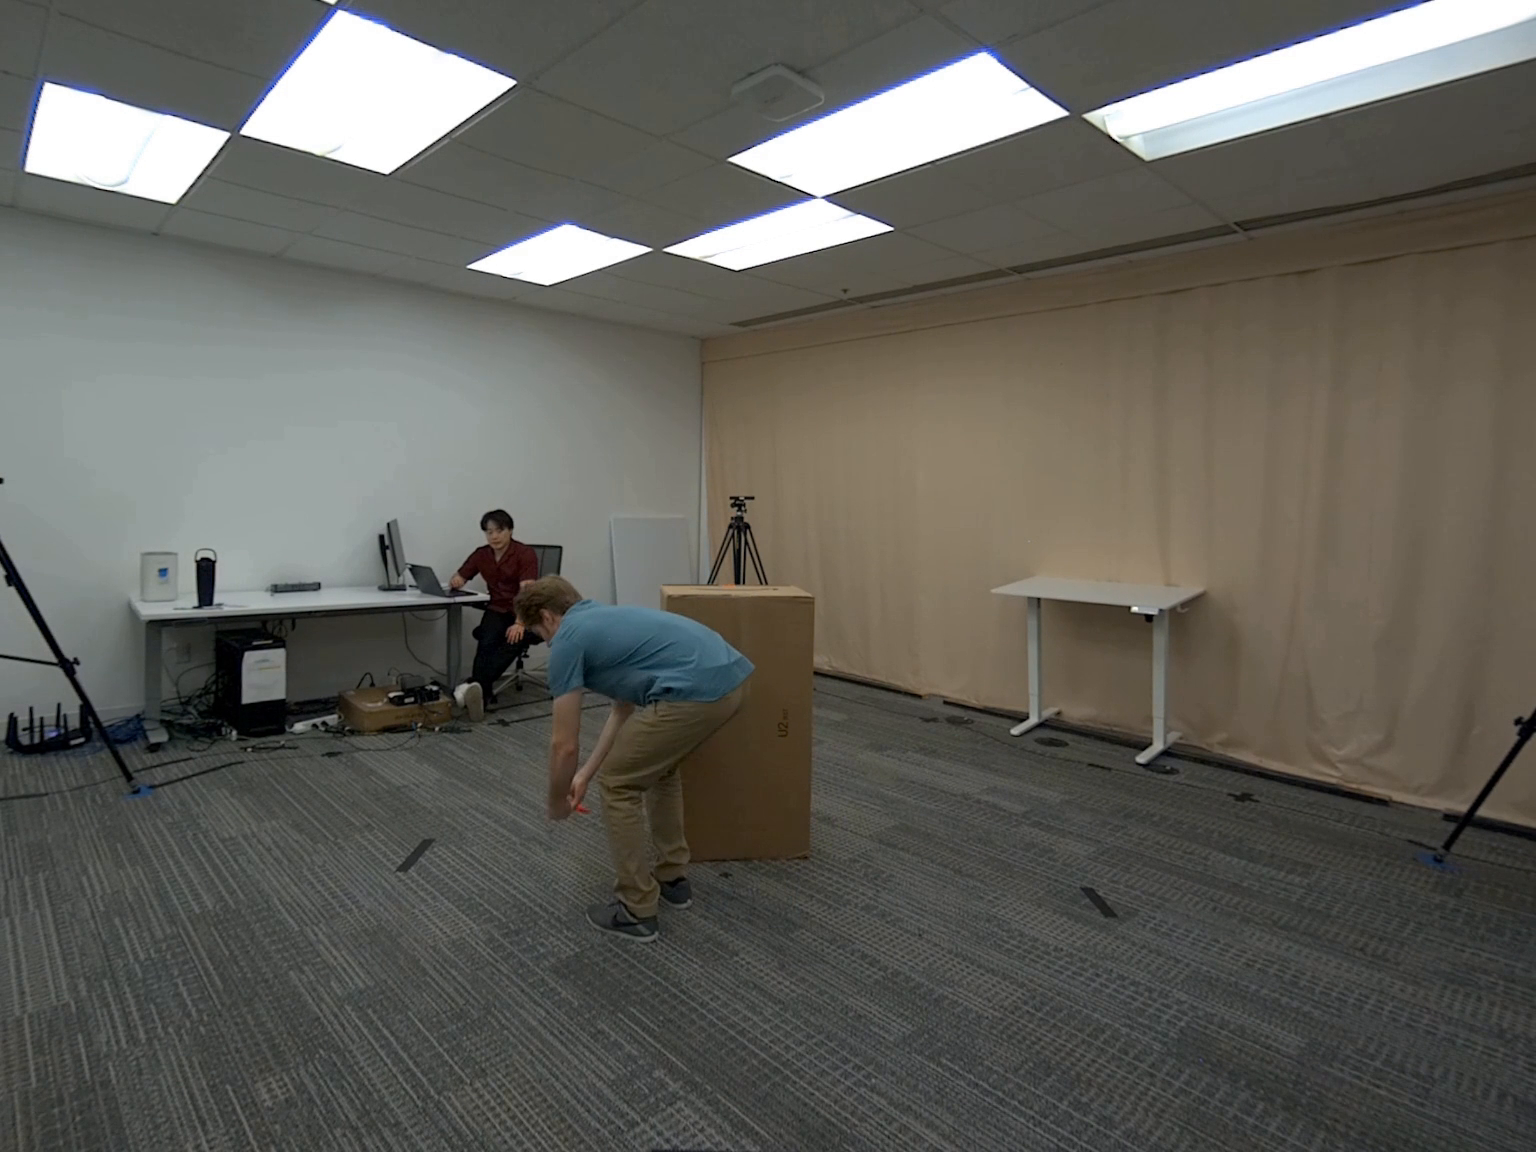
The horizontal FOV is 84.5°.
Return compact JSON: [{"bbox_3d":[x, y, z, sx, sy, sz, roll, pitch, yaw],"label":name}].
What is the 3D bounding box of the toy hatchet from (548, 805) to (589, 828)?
[{"bbox_3d":[-0.714,0.841,3.017,0.130,0.030,0.271,19,-11,-10],"label":"toy hatchet"}]
